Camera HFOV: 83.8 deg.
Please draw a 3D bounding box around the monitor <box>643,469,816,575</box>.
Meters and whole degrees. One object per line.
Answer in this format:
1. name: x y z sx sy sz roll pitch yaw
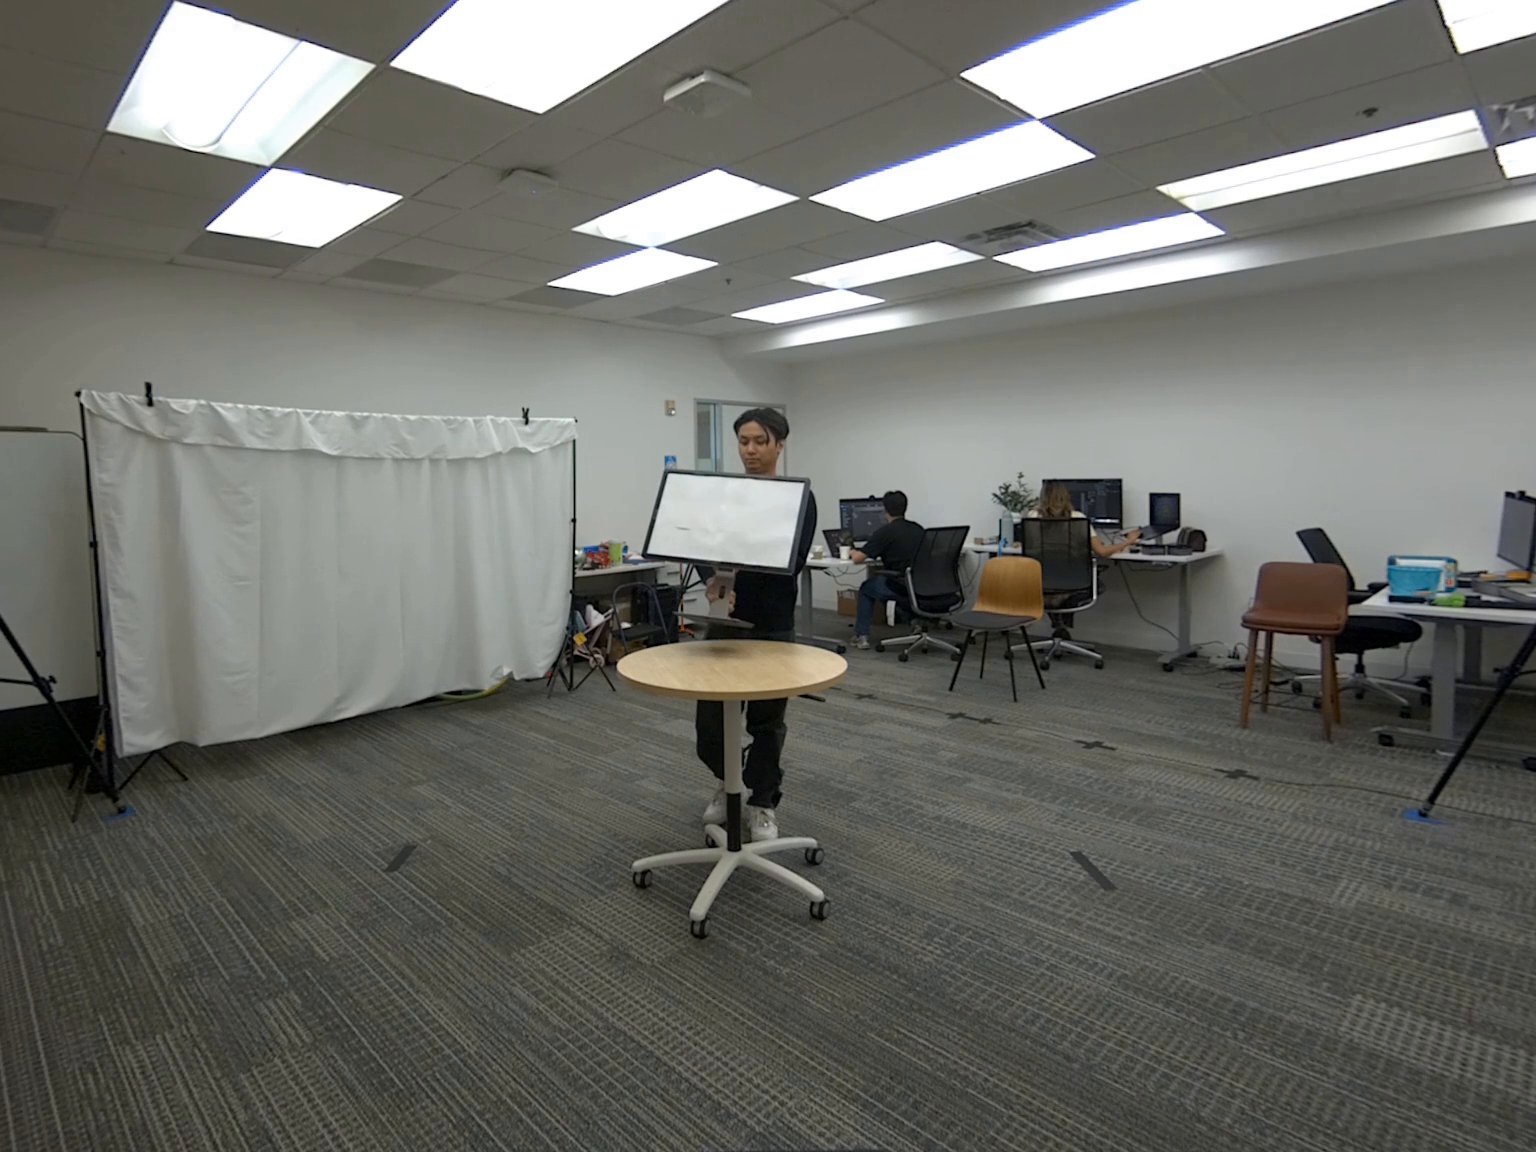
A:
1. monitor: -0.160 -0.099 3.062 0.549 0.526 0.182 6 -9 18
